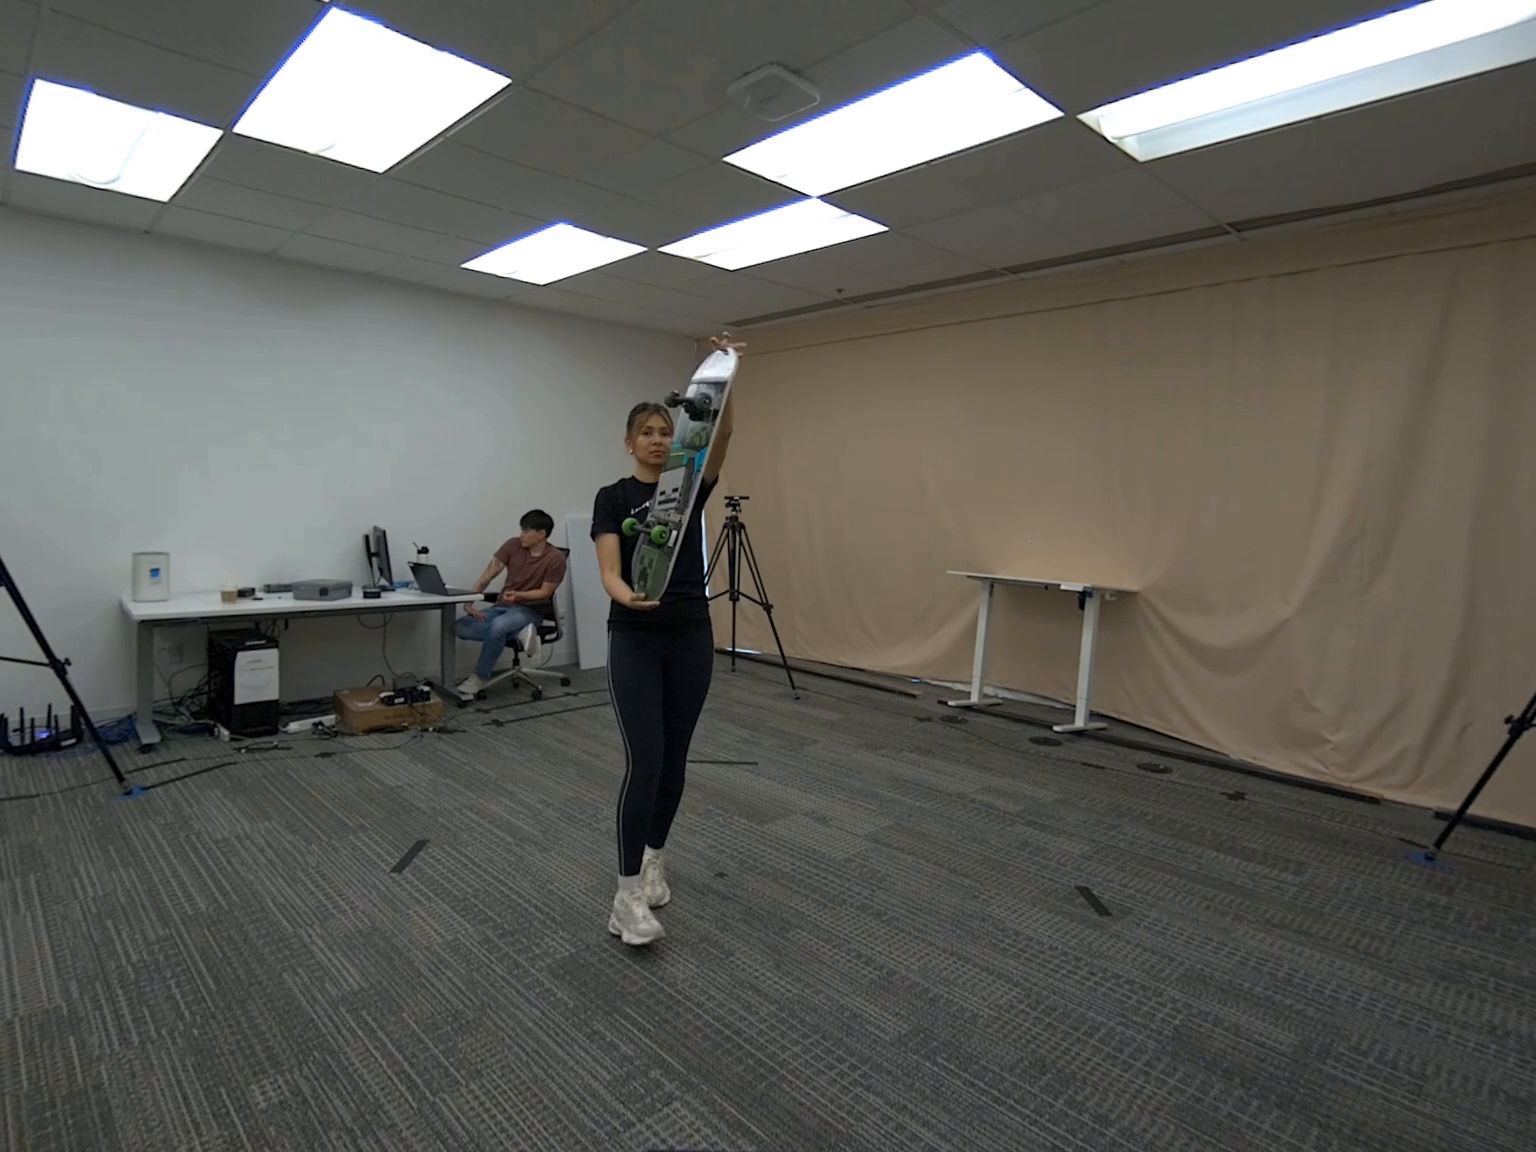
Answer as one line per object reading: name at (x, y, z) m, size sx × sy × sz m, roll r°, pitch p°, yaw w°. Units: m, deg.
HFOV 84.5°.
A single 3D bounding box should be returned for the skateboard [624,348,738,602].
skateboard at (-0.276, -0.310, 2.440) m, size 0.107 × 0.786 × 0.199 m, roll 19°, pitch -4°, yaw -42°
